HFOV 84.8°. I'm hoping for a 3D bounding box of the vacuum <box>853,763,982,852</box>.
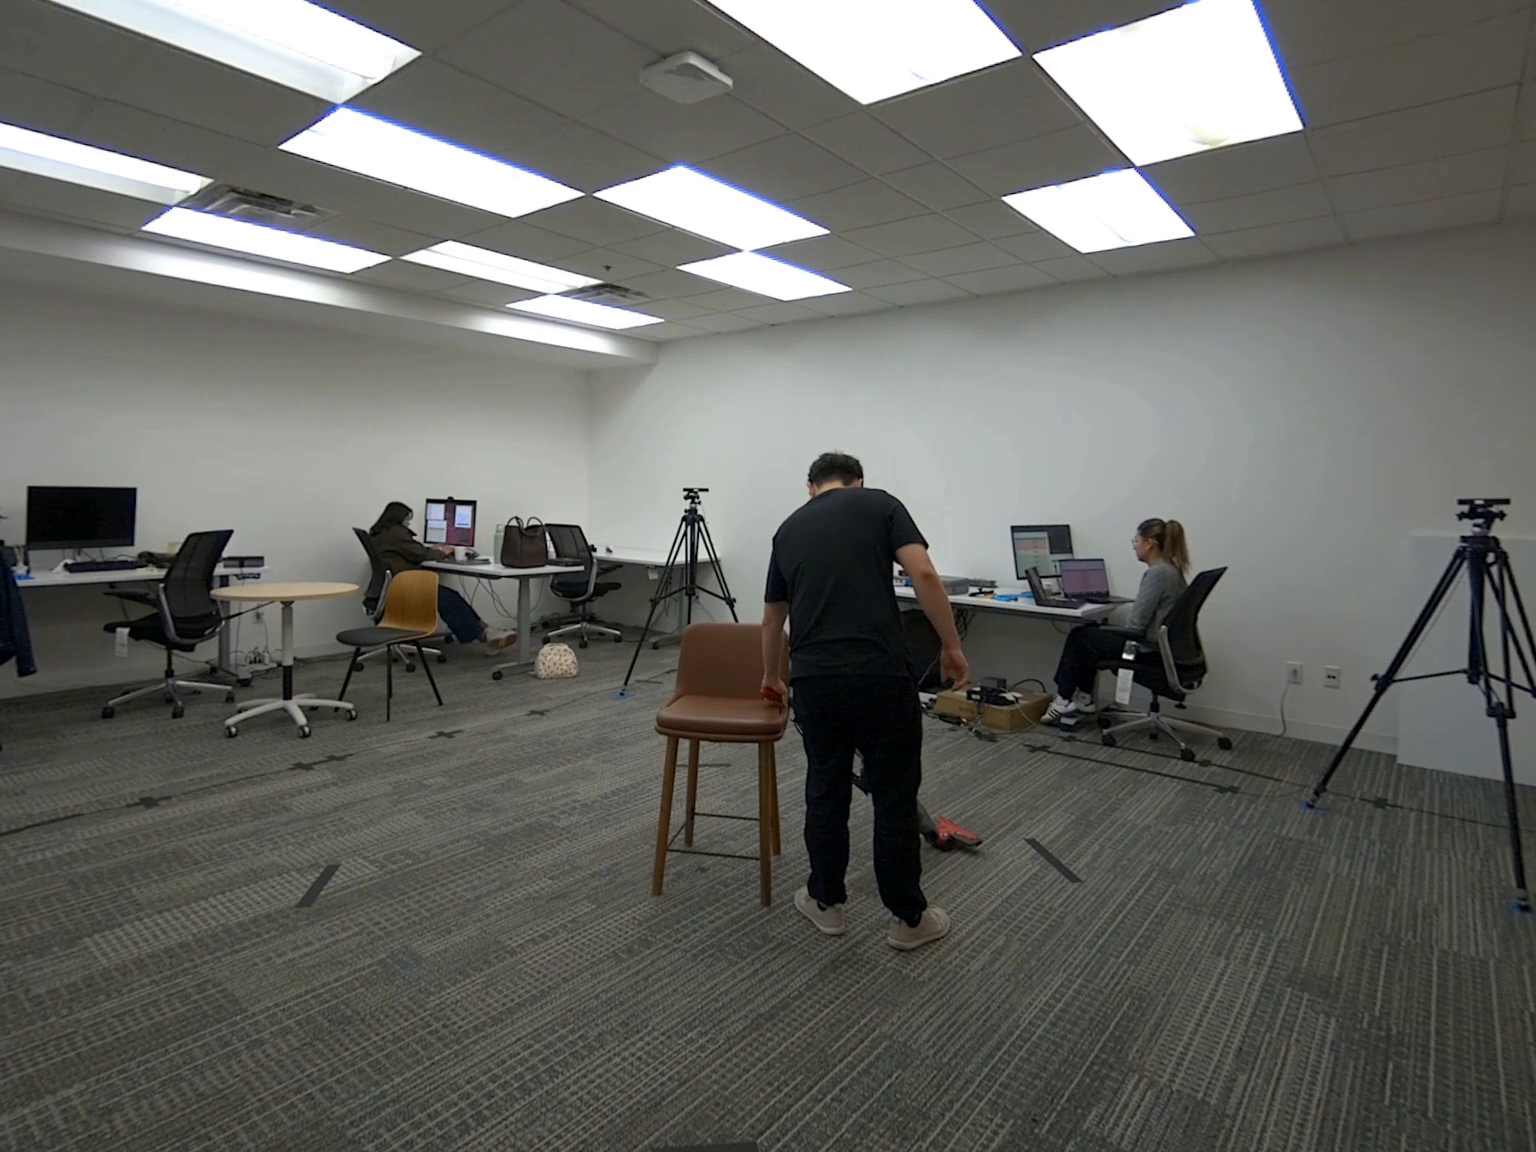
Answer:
[{"bbox_3d":[0.352,0.727,3.218,1.020,0.144,0.259,40,-11,-21],"label":"vacuum"}]
